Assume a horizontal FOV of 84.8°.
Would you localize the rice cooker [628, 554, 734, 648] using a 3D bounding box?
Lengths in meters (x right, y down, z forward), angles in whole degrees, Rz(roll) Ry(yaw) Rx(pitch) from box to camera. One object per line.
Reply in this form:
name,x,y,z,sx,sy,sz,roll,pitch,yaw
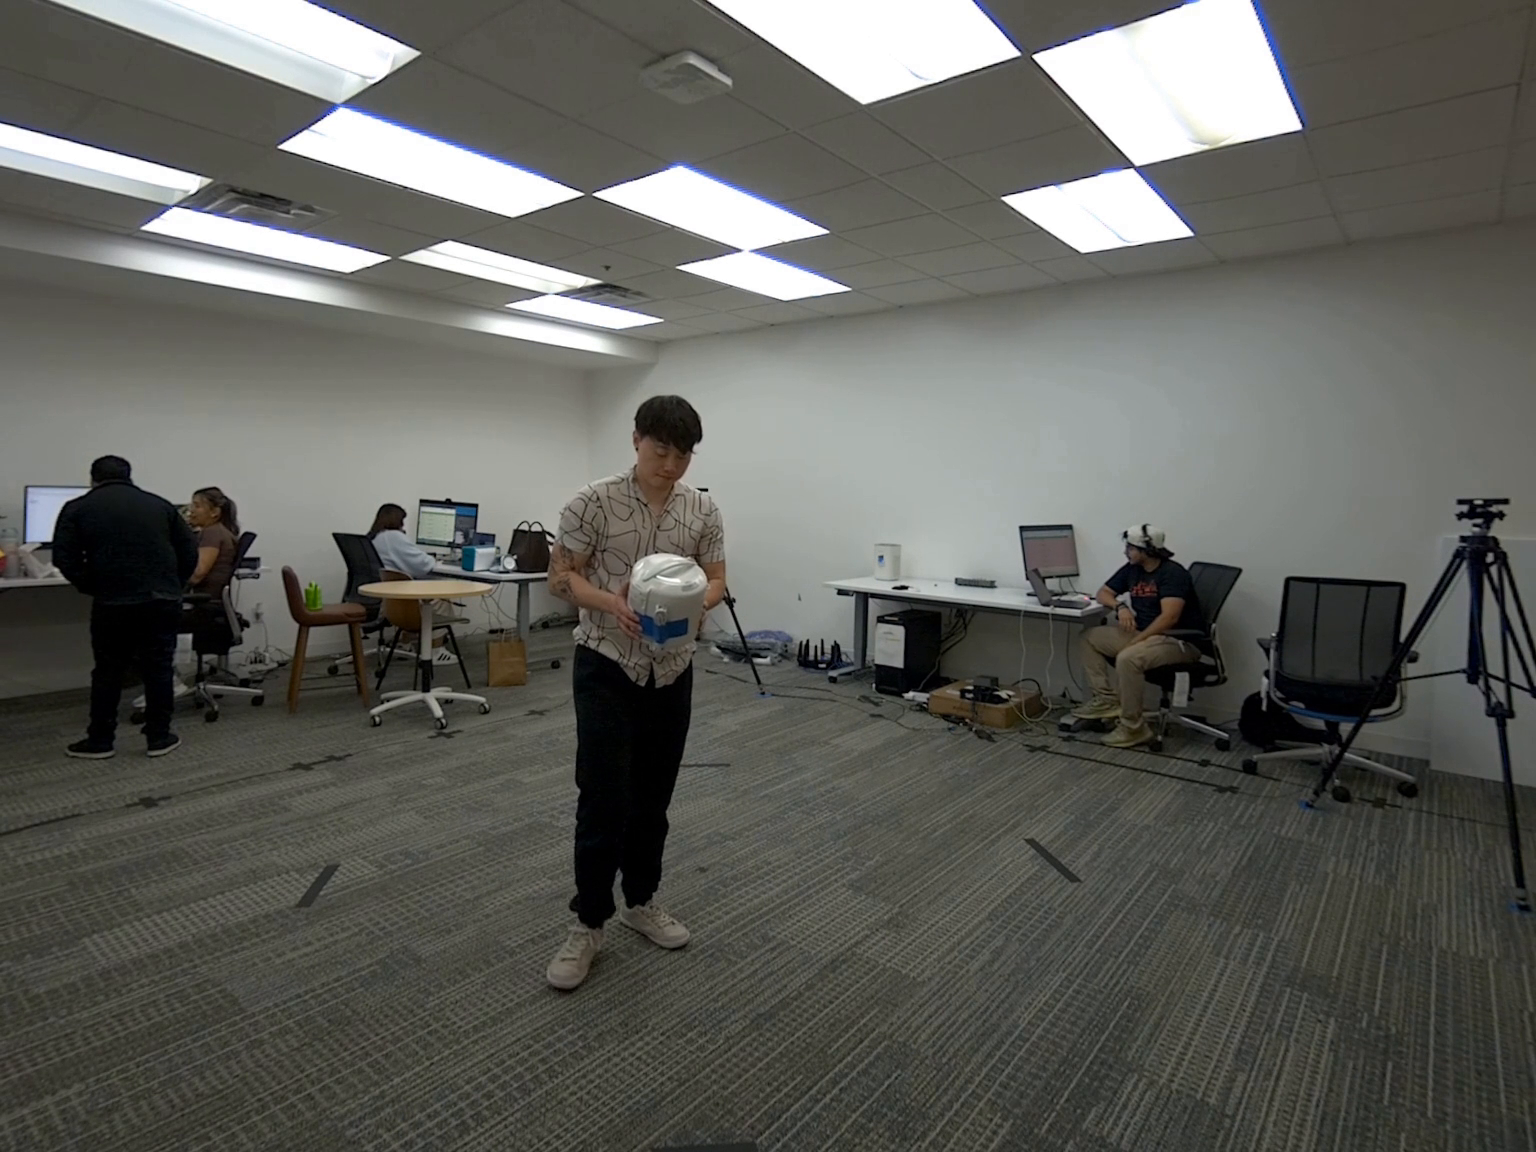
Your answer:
rice cooker,-0.270,0.051,2.326,0.216,0.228,0.226,-17,42,-40
